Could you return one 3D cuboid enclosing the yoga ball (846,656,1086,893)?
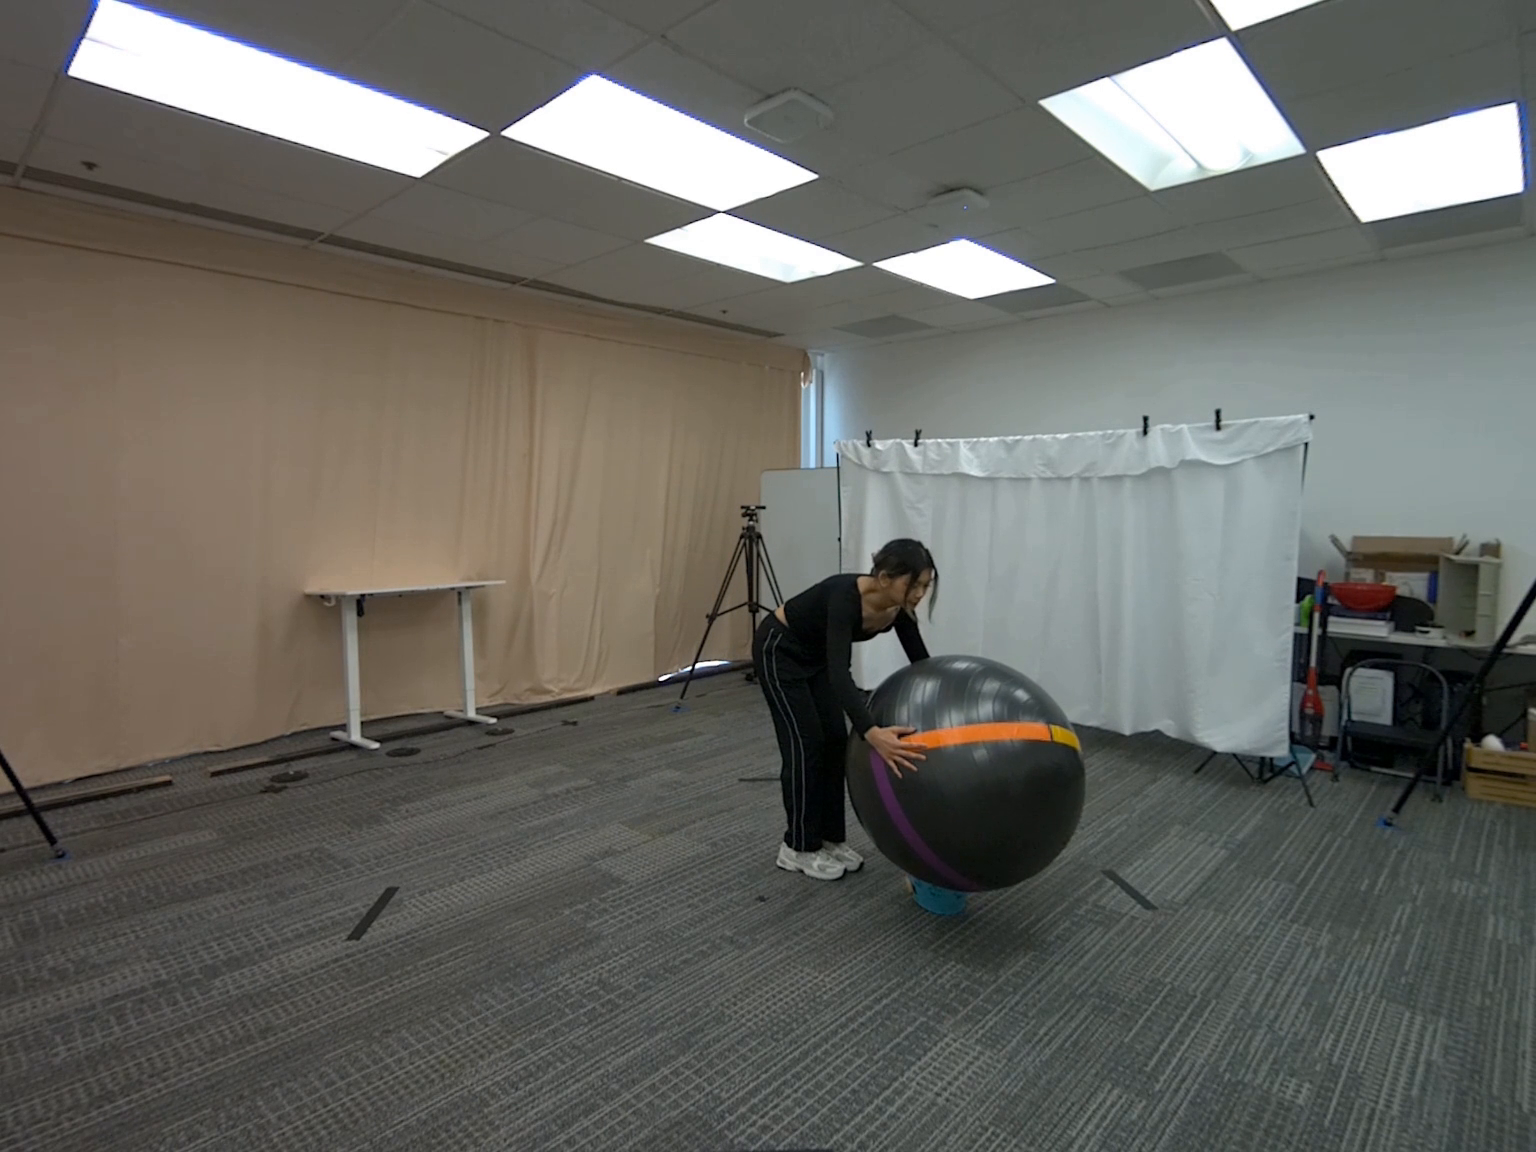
[{"bbox_3d":[0.654,0.647,2.792,0.757,0.756,0.760,0,4,-2],"label":"yoga ball"}]
